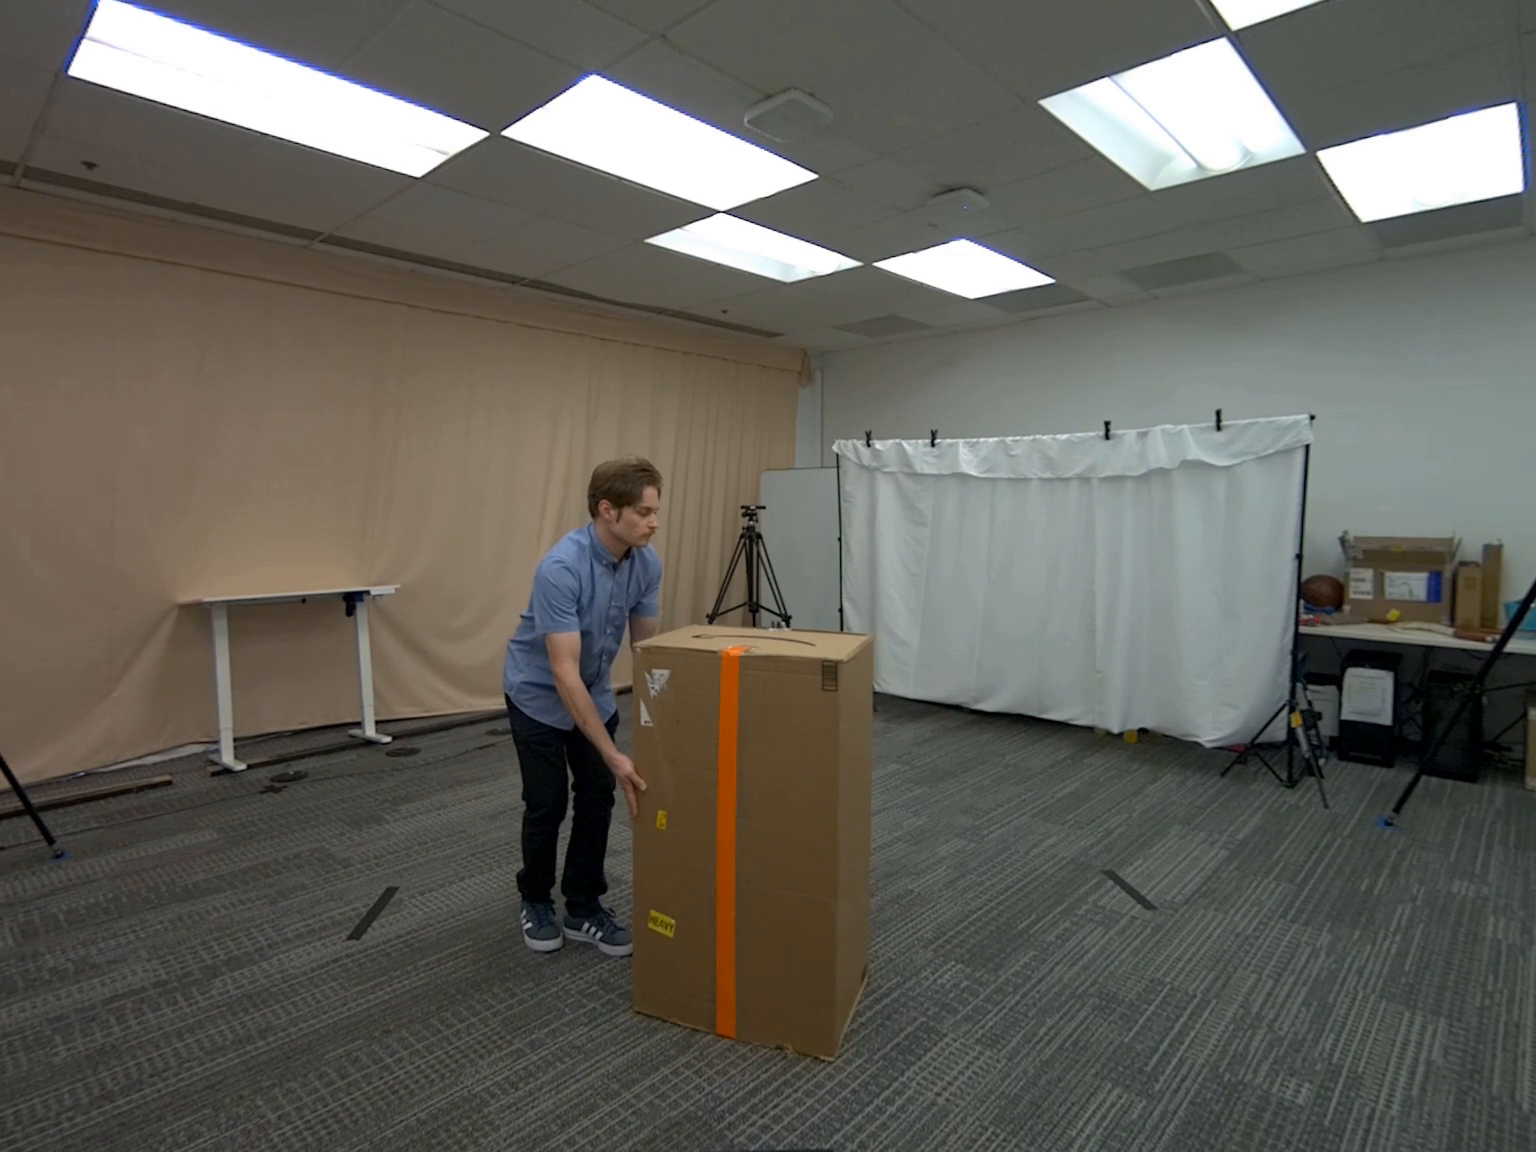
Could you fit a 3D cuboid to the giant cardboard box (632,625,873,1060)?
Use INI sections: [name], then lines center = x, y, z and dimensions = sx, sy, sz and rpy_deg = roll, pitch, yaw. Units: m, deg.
[giant cardboard box]
center = -0.032, 0.689, 2.368
dimensions = 0.591, 1.024, 0.417
rpy_deg = 2, 3, 22
